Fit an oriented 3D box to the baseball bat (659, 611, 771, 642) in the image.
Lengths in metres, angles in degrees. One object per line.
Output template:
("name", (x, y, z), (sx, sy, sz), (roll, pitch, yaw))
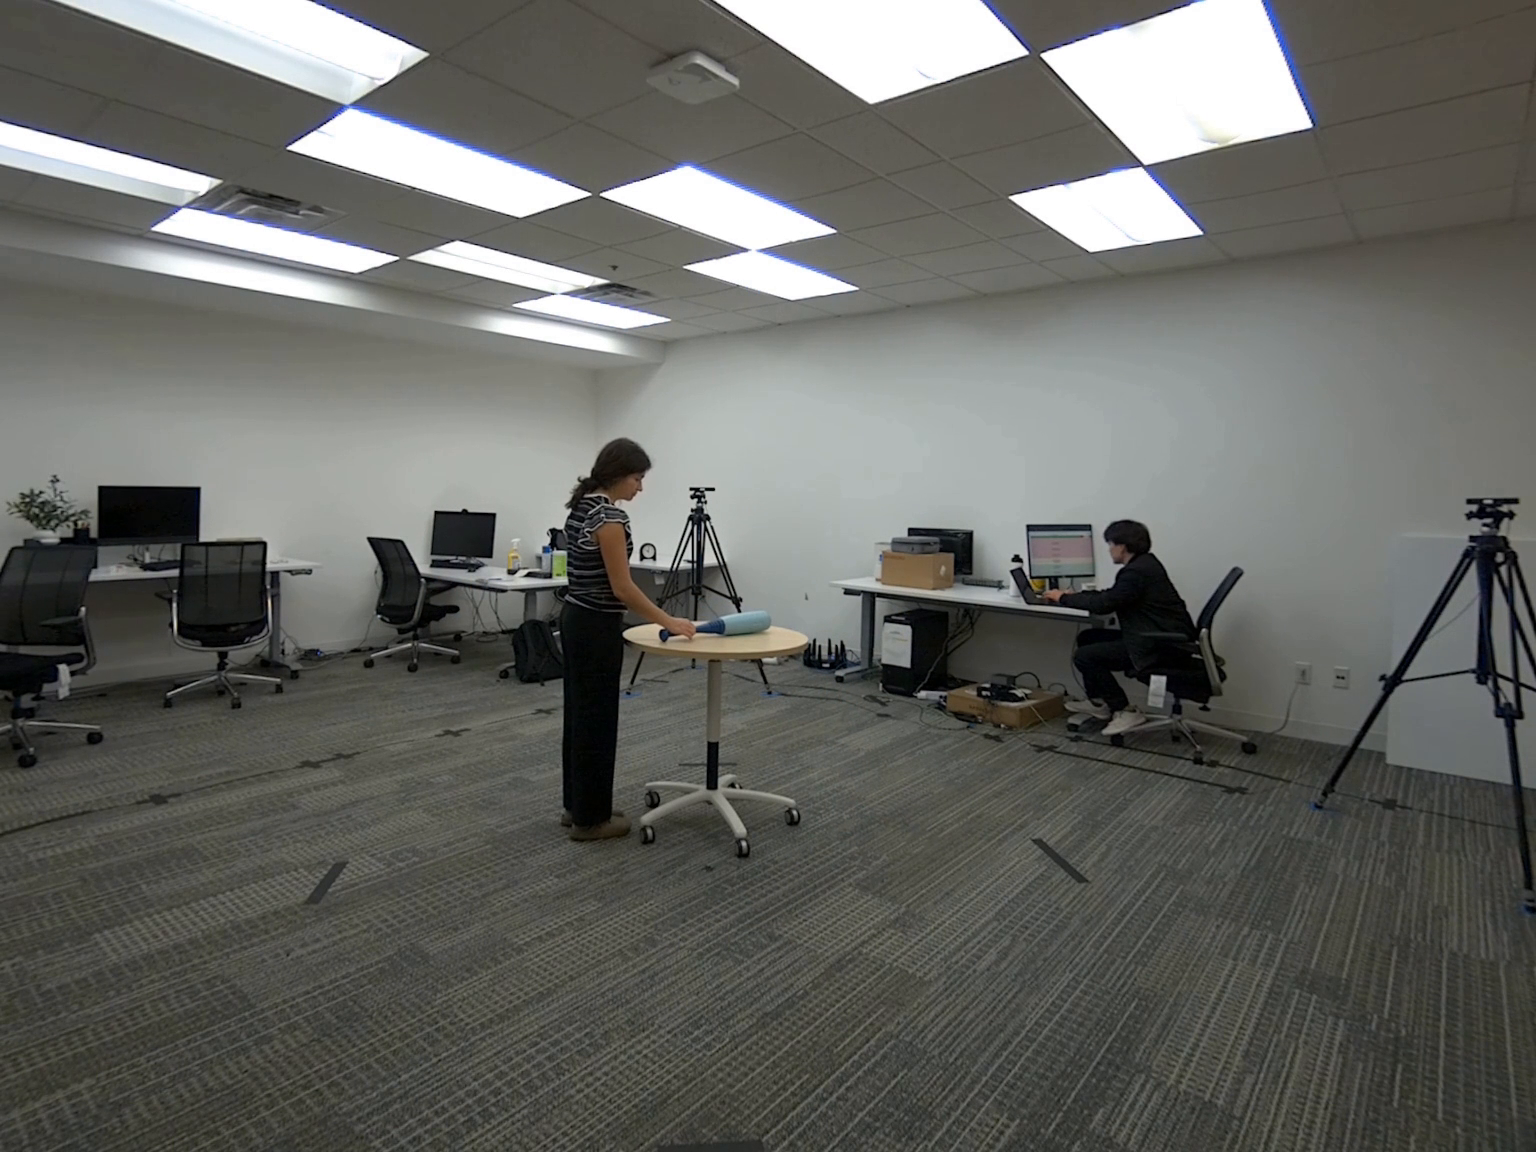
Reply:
("baseball bat", (-0.227, 0.215, 3.495), (0.528, 0.088, 0.092), (-6, 8, -36))
